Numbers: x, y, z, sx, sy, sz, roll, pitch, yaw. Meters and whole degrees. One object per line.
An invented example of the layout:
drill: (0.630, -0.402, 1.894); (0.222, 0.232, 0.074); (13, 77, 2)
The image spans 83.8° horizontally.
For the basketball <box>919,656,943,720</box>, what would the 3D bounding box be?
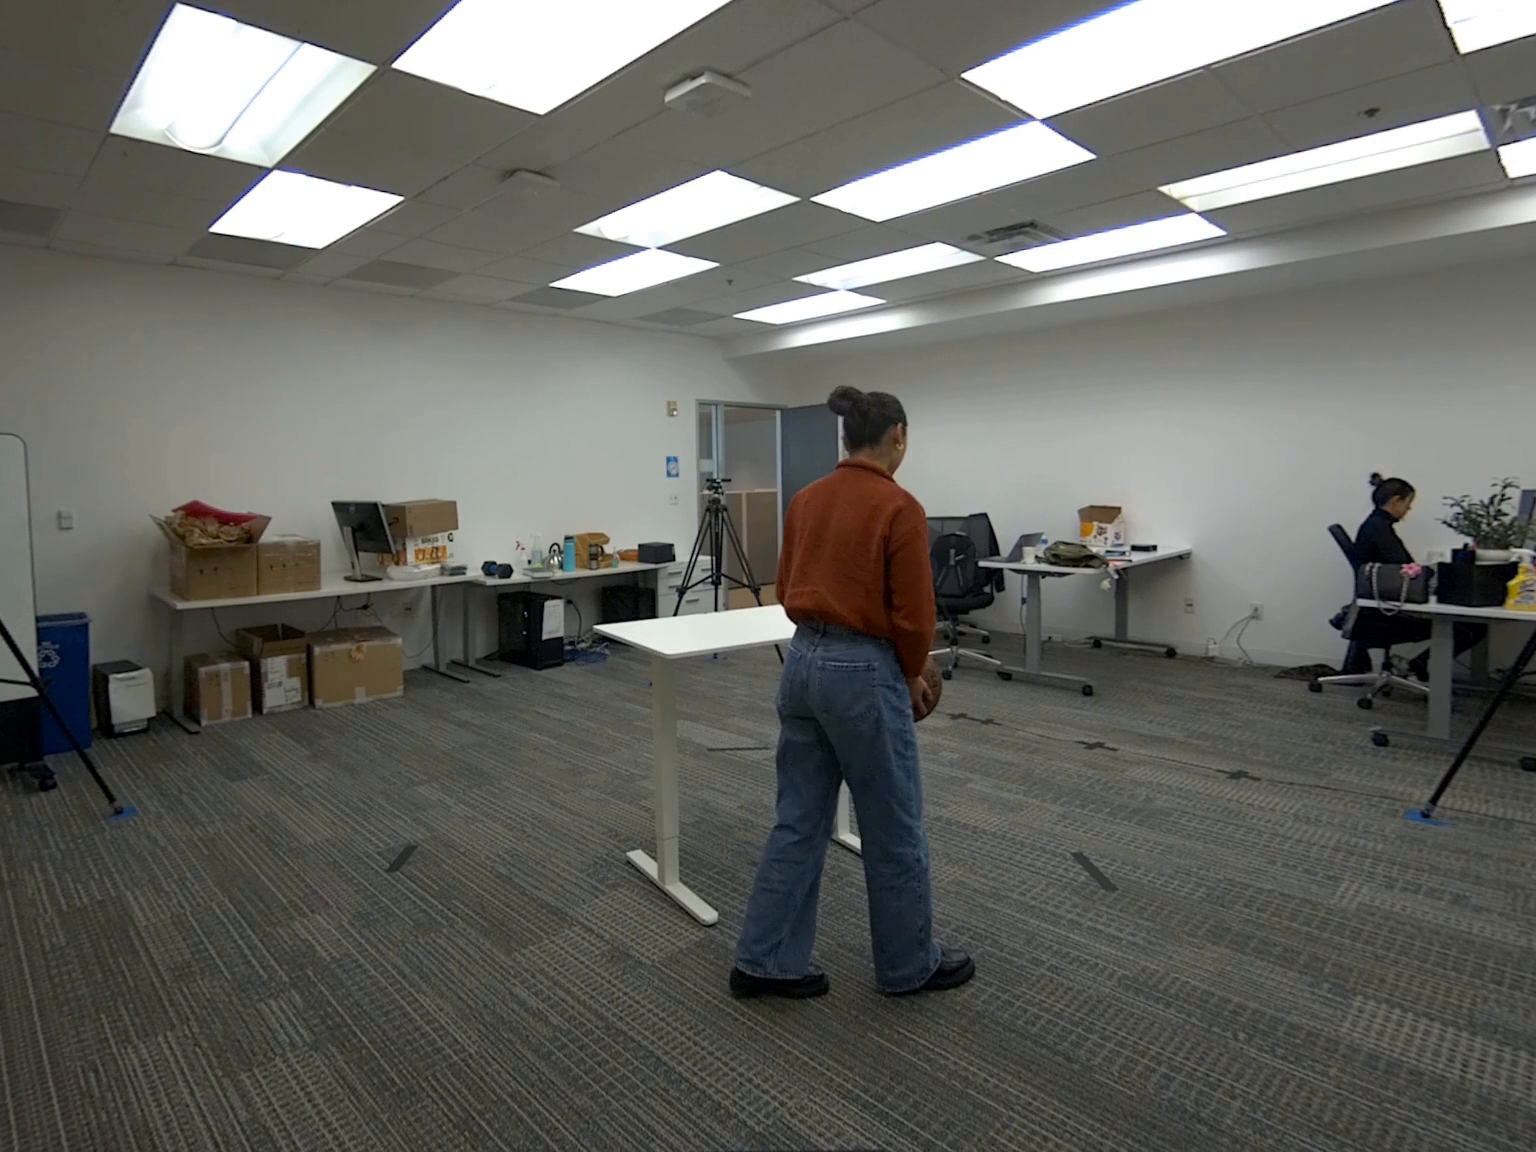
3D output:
basketball: (0.379, 0.301, 2.442); (0.236, 0.235, 0.237); (-1, 5, -2)
